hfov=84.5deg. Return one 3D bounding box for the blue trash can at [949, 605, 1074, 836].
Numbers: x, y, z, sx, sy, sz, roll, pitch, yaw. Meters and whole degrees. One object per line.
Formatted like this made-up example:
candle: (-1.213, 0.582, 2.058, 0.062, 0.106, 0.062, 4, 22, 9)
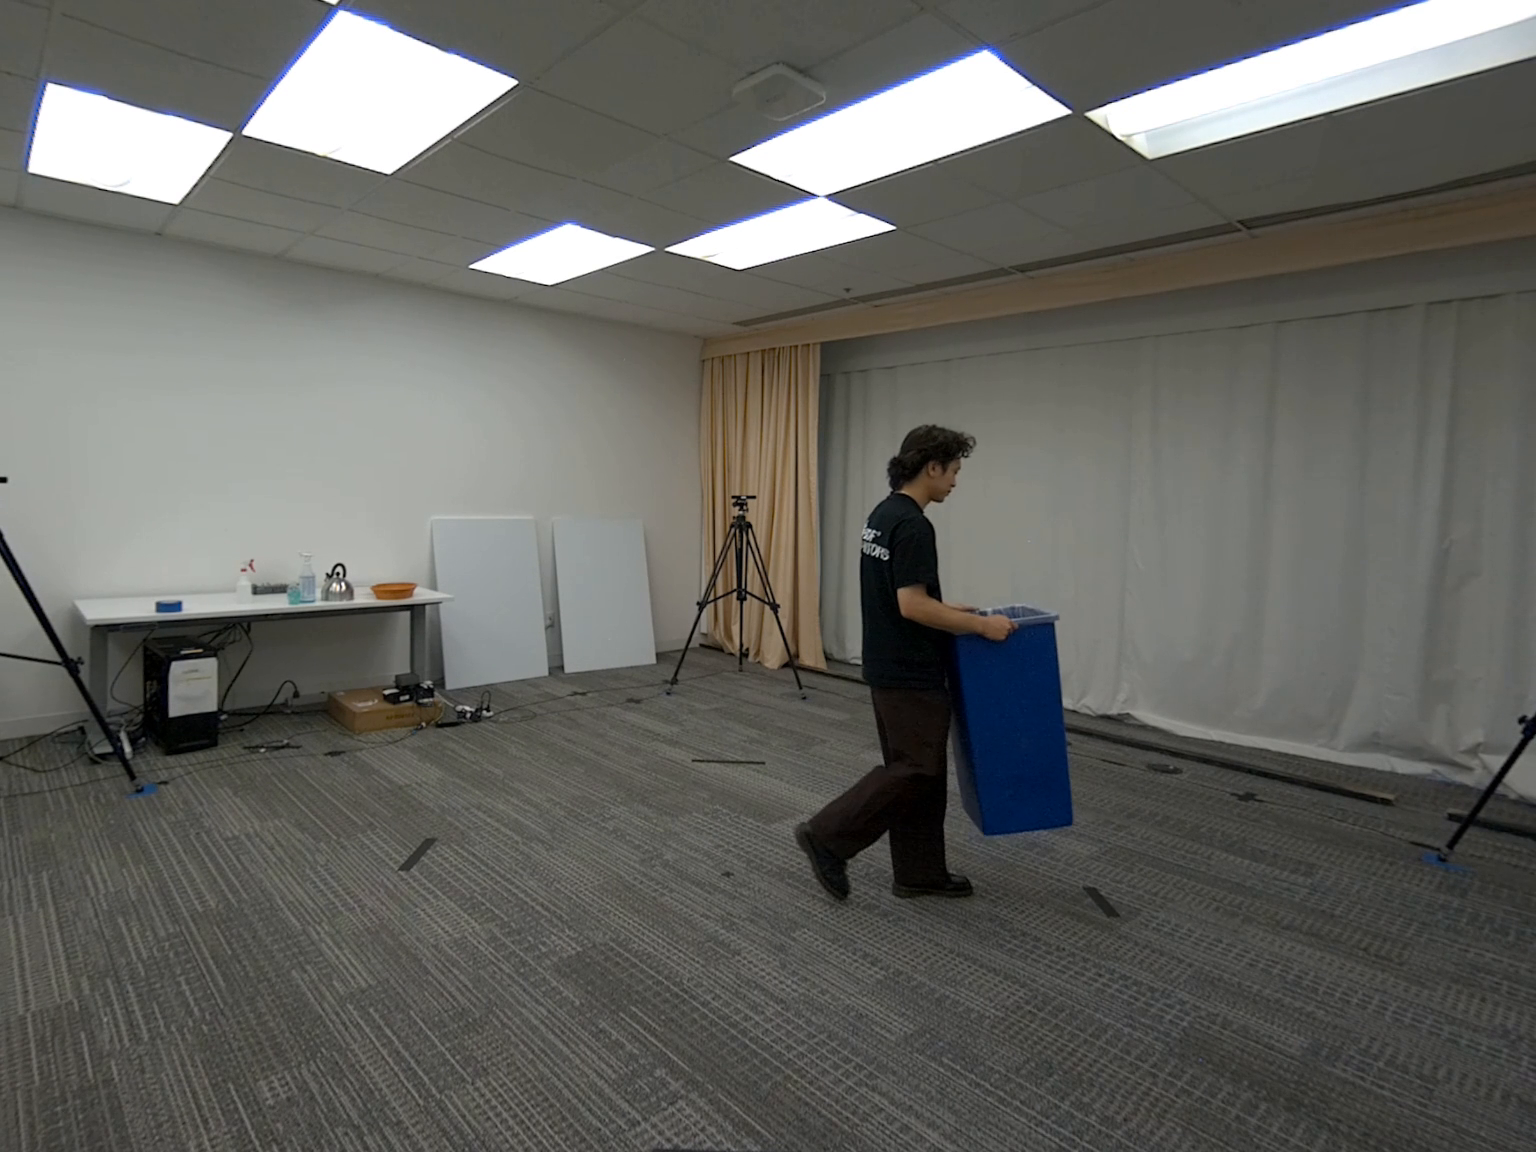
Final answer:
blue trash can: (0.812, 0.489, 2.933, 0.378, 0.713, 0.374, -8, 1, 0)
